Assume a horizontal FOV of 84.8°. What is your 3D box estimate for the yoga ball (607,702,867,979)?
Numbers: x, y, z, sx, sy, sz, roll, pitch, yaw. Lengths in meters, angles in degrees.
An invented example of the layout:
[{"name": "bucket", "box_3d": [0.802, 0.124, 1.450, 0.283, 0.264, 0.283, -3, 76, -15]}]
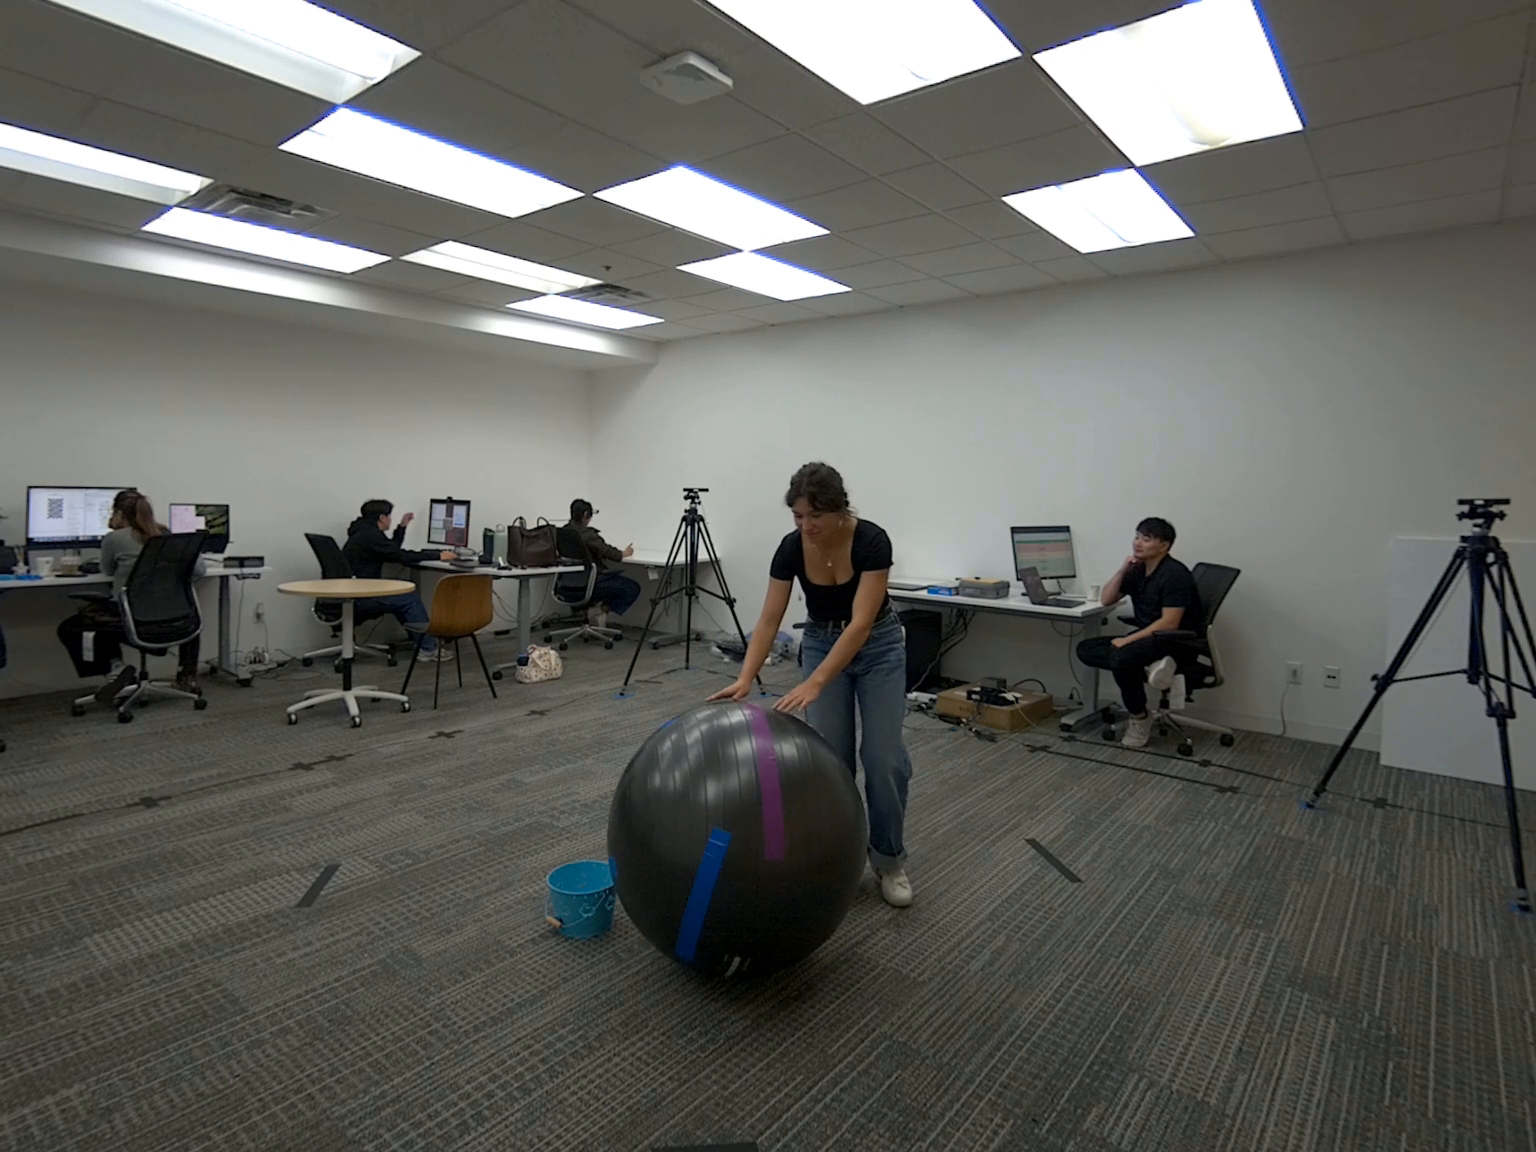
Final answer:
[{"name": "yoga ball", "box_3d": [-0.100, 0.758, 2.492, 0.757, 0.756, 0.762, 1, 4, -2]}]
